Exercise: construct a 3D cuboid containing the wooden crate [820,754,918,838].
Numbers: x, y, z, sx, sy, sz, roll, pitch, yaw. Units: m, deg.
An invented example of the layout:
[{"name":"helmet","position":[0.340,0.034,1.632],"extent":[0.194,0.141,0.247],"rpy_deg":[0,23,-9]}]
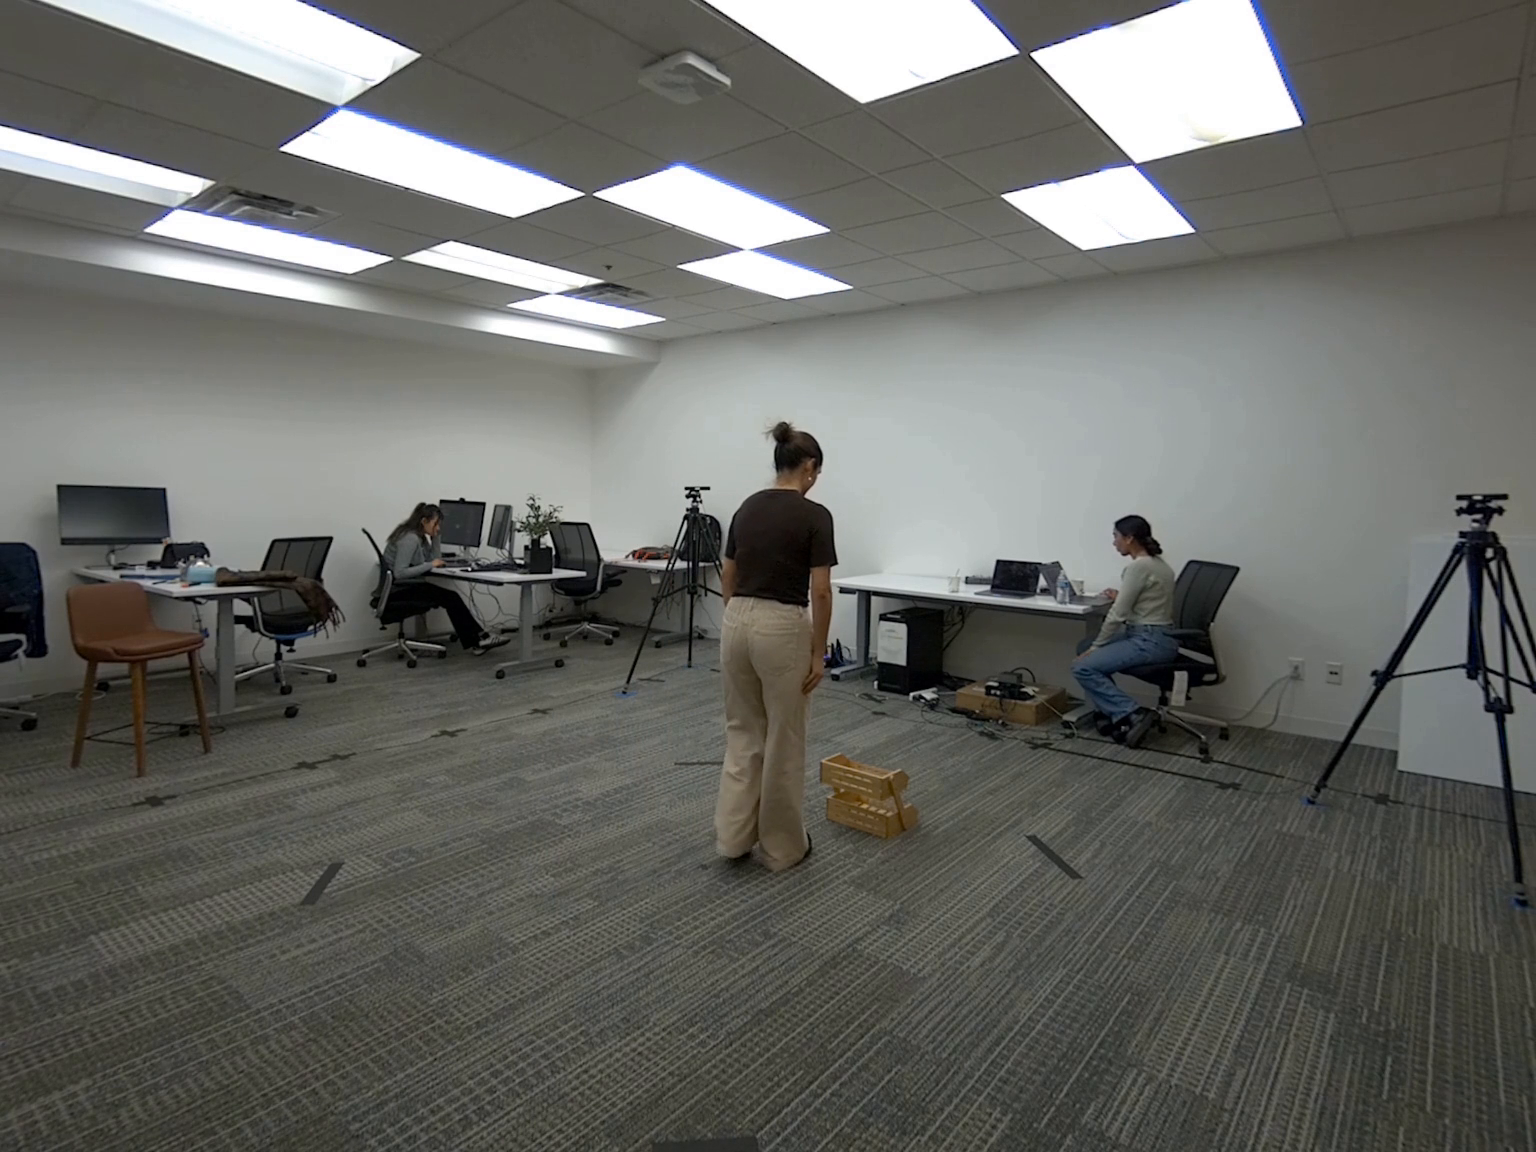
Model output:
[{"name":"wooden crate","position":[0.419,0.897,3.569],"extent":[0.335,0.272,0.293],"rpy_deg":[5,7,40]}]
